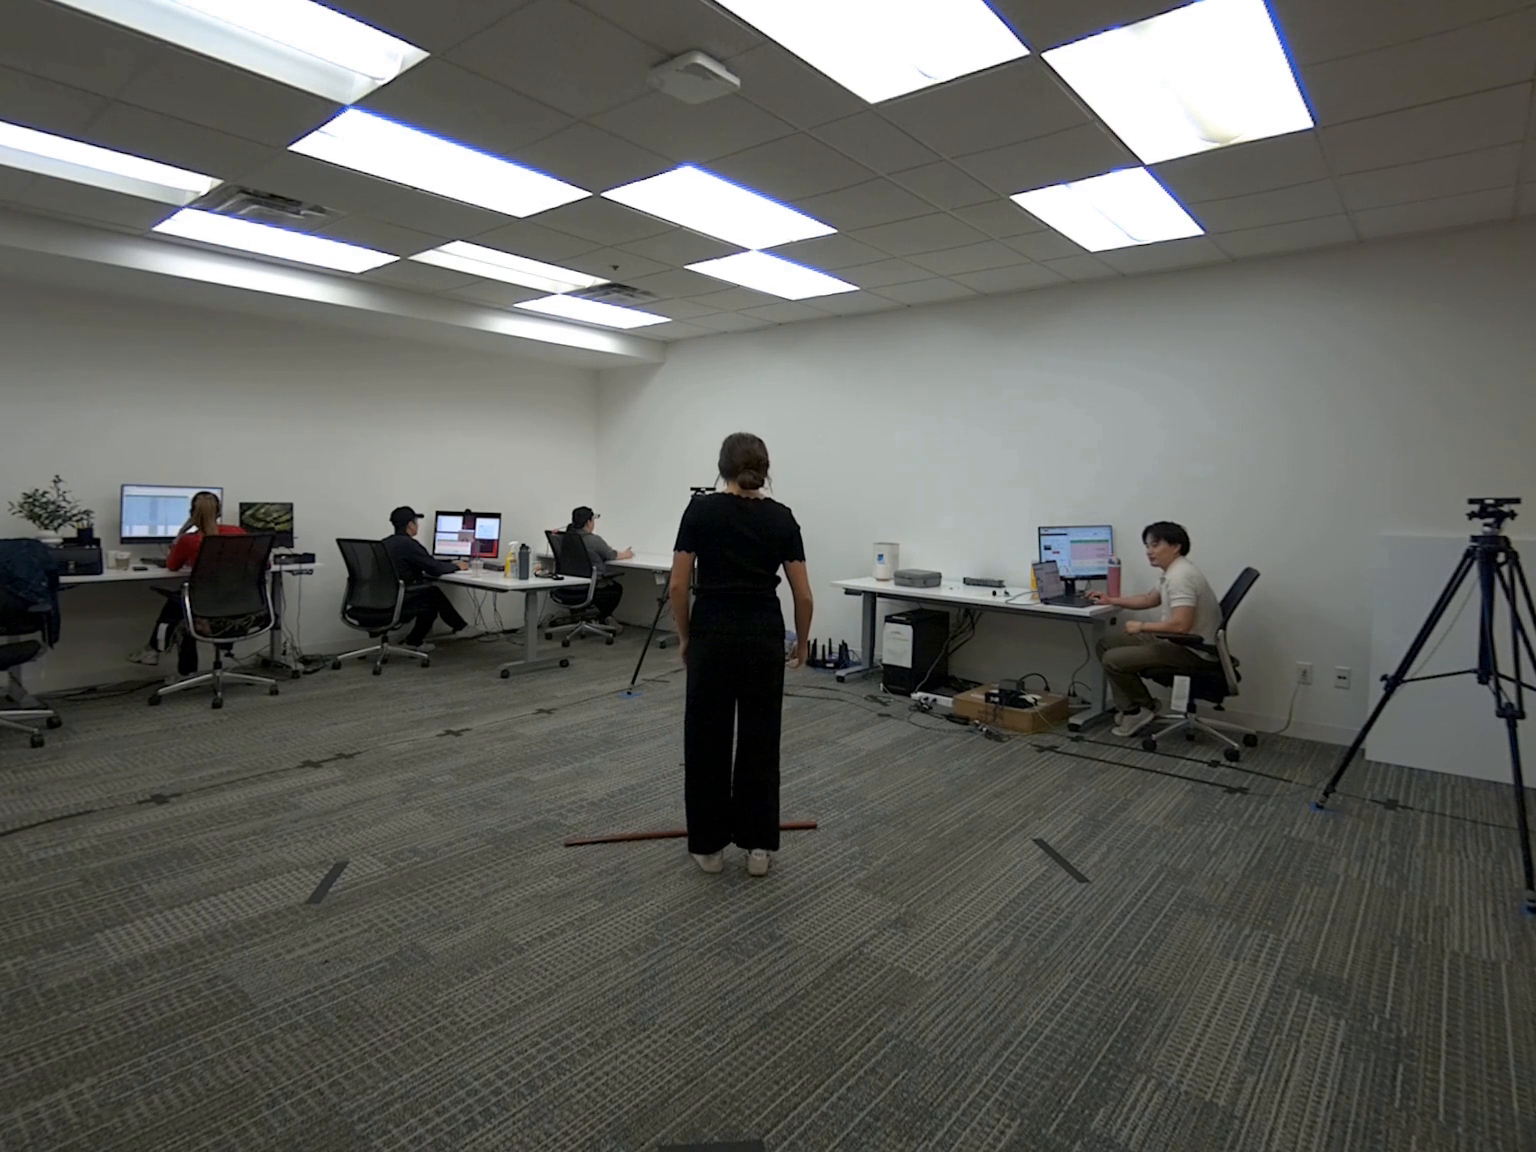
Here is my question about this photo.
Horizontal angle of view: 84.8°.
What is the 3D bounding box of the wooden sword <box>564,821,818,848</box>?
[{"bbox_3d":[-0.309,1.018,3.396,1.011,0.024,0.052,-1,7,-12],"label":"wooden sword"}]
